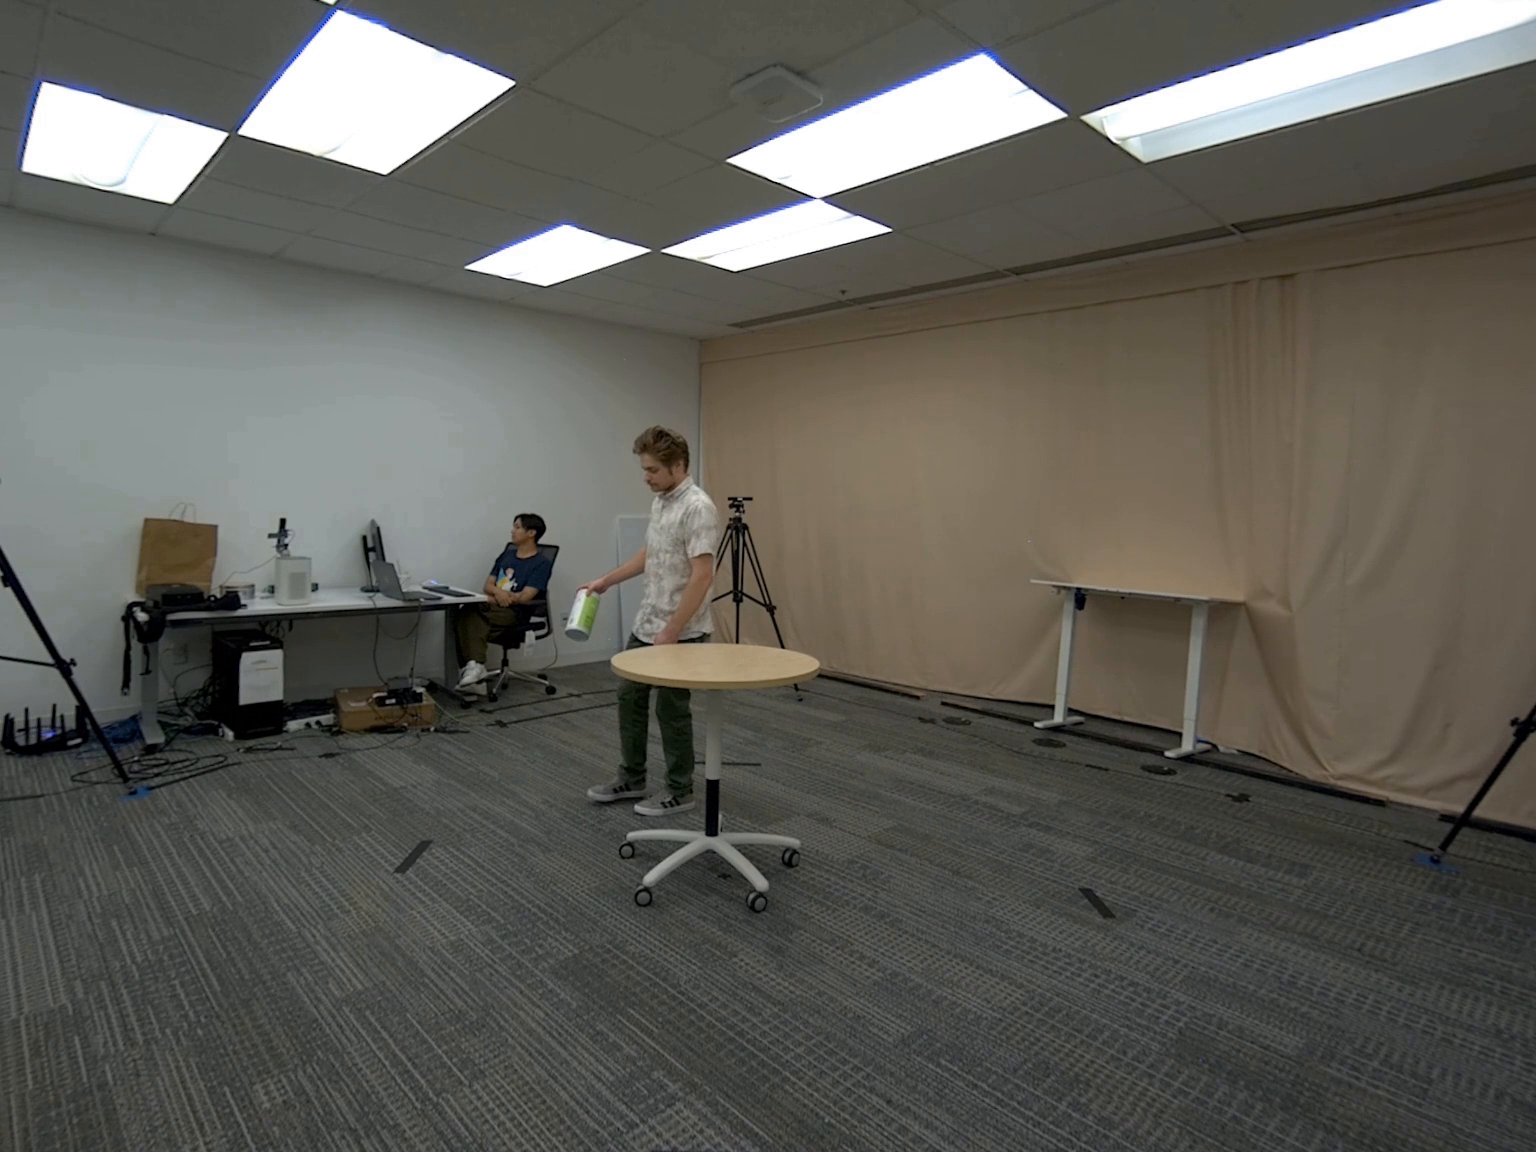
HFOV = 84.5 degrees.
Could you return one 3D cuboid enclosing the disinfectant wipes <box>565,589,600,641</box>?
[{"bbox_3d":[-0.830,0.173,3.755,0.118,0.221,0.115,8,-34,4],"label":"disinfectant wipes"}]
